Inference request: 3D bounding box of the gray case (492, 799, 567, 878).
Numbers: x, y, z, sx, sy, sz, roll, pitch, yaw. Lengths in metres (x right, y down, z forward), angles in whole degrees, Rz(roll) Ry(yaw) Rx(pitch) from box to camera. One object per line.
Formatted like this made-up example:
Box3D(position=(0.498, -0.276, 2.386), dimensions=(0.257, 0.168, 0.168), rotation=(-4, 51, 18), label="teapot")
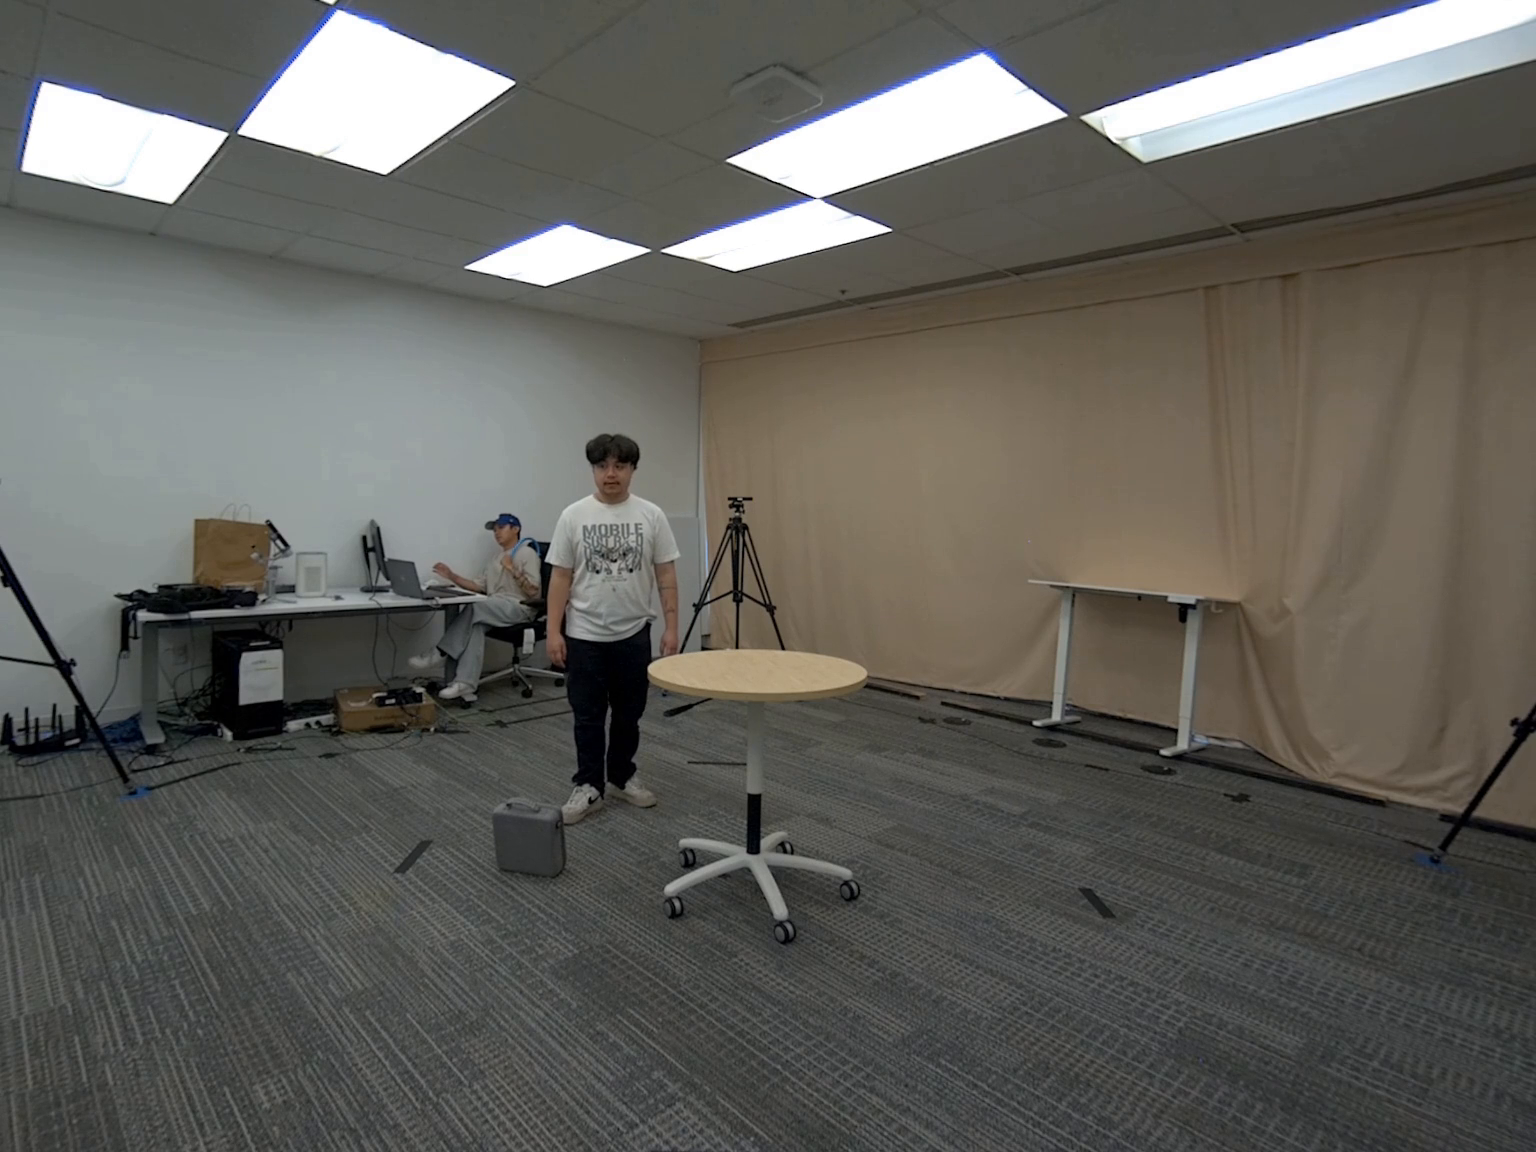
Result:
Box3D(position=(-0.893, 0.964, 3.101), dimensions=(0.260, 0.258, 0.104), rotation=(2, 14, 13), label="gray case")
